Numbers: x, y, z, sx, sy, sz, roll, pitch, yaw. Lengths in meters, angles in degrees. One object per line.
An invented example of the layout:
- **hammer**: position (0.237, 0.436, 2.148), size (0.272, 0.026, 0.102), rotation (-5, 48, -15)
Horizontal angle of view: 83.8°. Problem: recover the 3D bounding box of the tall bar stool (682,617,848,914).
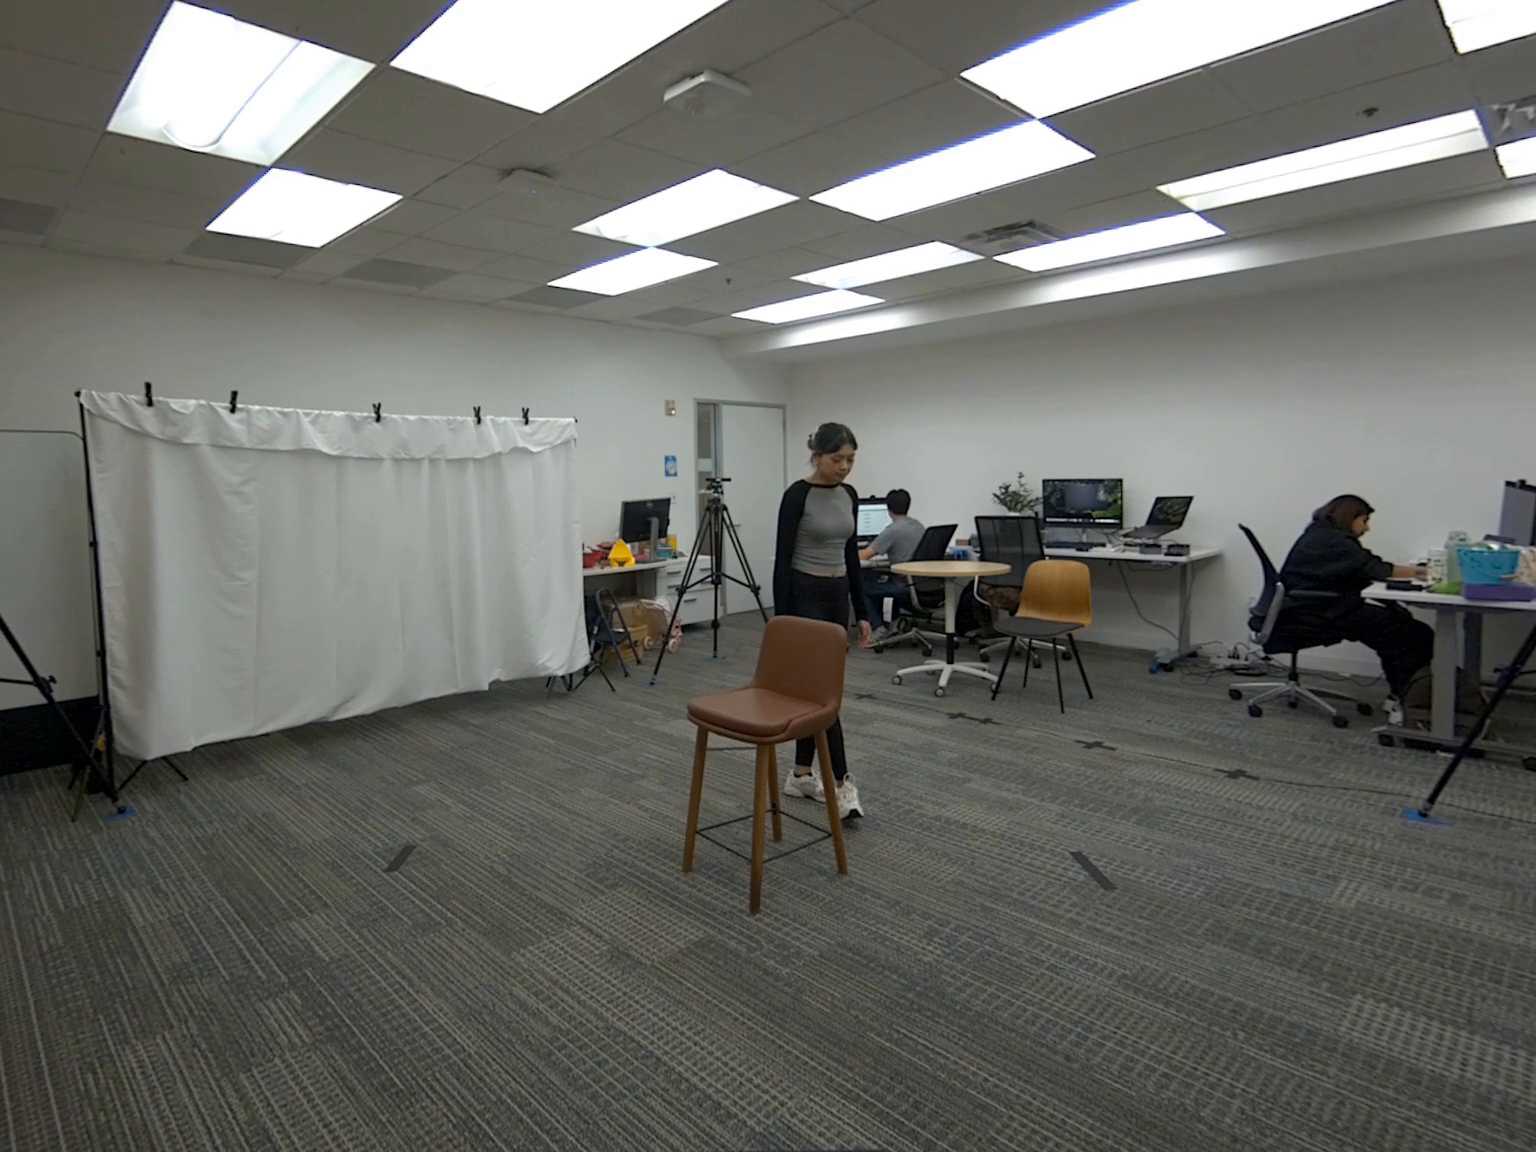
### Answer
- **tall bar stool**: position (-0.007, 0.616, 3.008), size (0.455, 0.888, 0.470), rotation (-1, 4, -40)
